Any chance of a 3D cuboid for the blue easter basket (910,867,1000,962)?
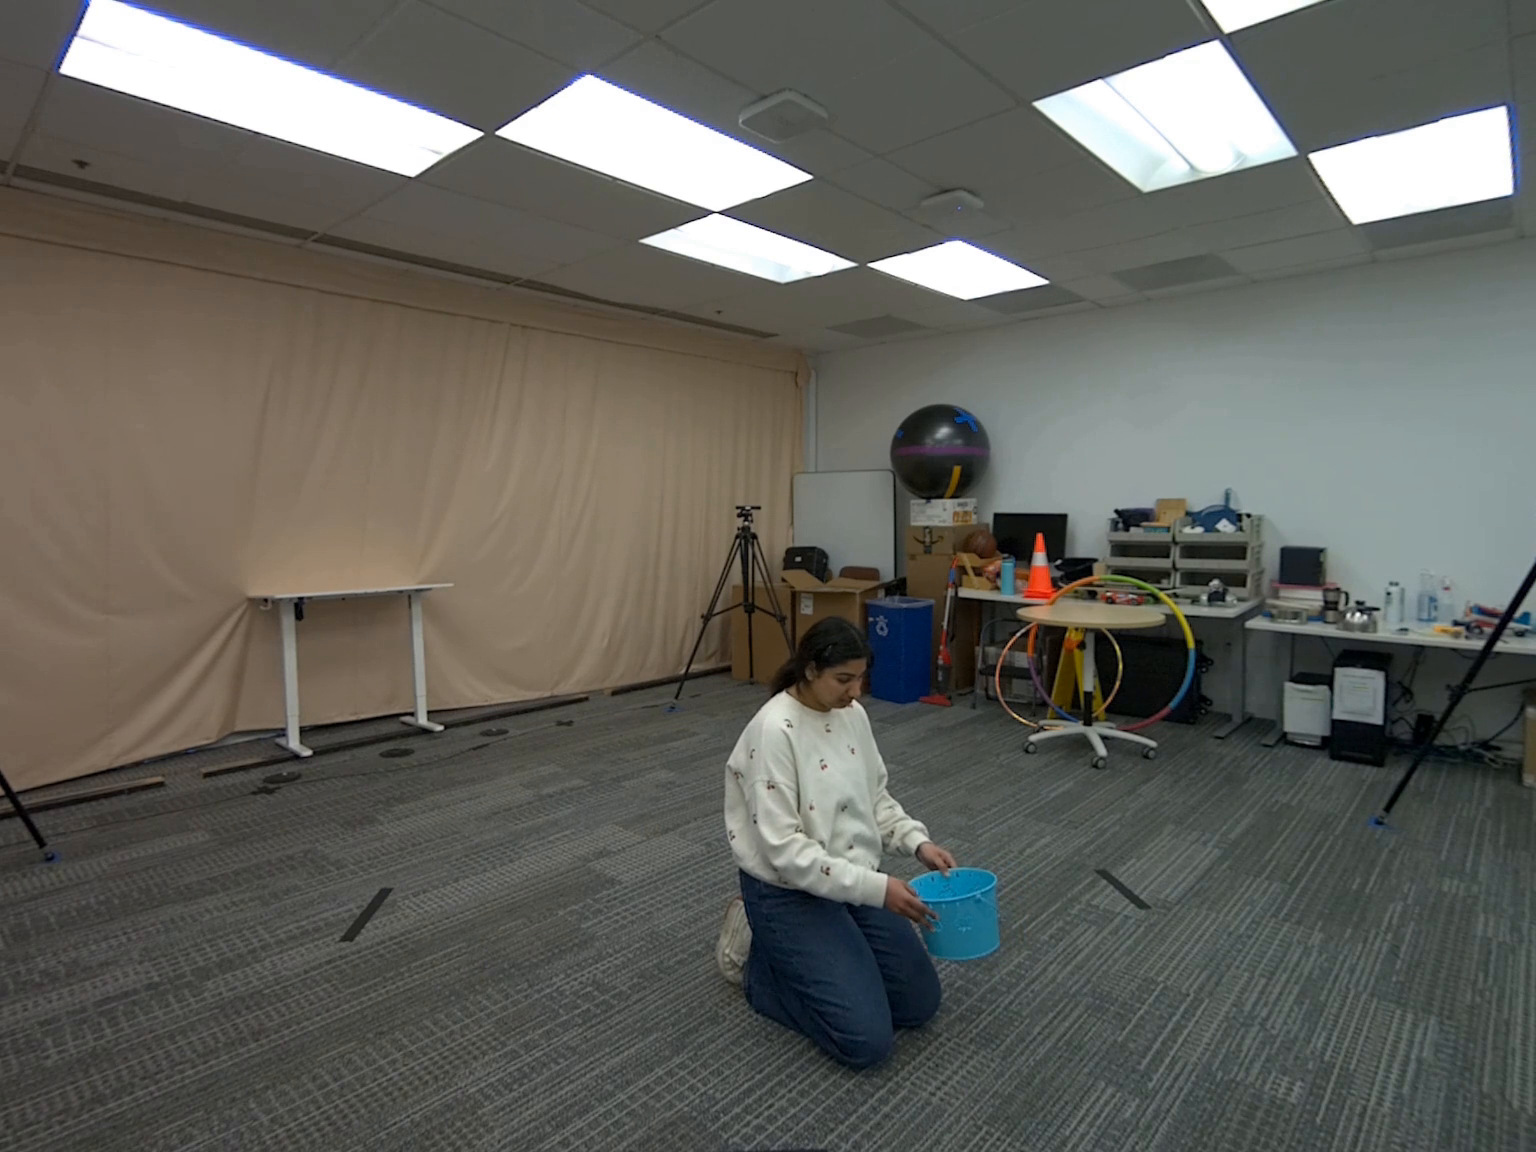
[{"bbox_3d":[0.488,0.858,2.117,0.243,0.156,0.243,-11,-2,-2],"label":"blue easter basket"}]
